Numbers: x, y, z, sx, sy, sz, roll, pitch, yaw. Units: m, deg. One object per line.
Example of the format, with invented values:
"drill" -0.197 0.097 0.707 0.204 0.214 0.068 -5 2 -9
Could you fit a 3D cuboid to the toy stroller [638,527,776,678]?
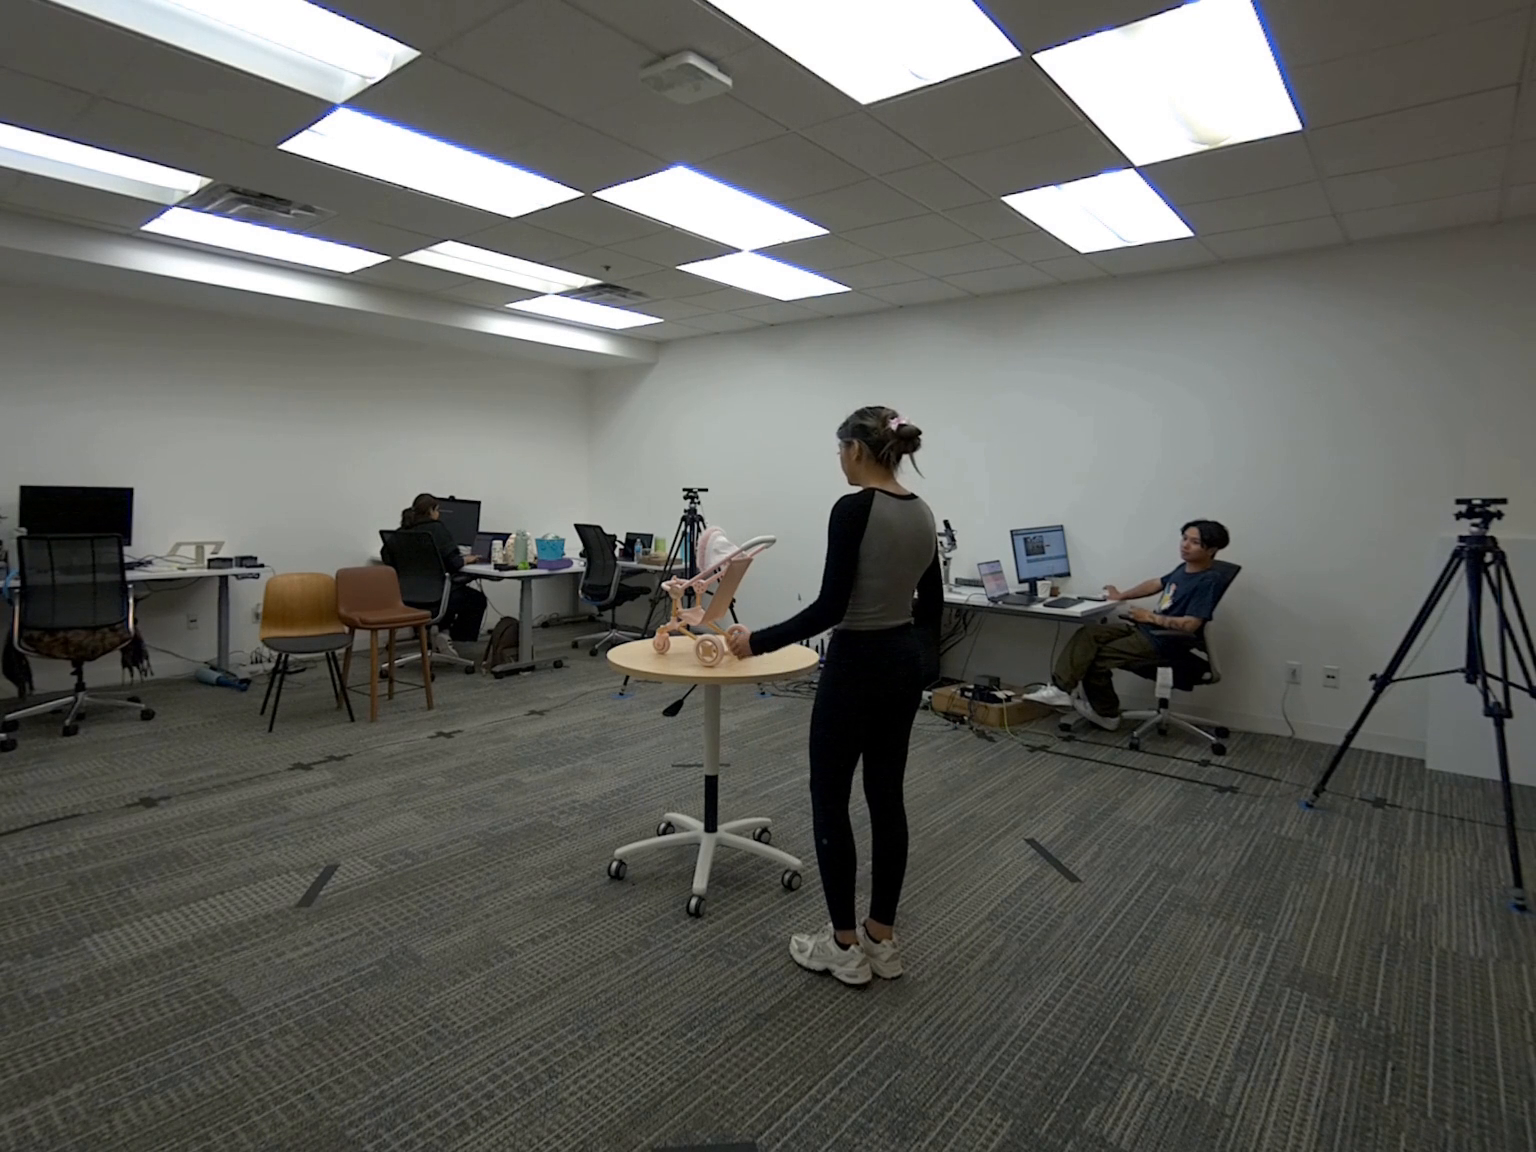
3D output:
"toy stroller" -0.220 0.064 2.981 0.352 0.531 0.274 19 11 26
